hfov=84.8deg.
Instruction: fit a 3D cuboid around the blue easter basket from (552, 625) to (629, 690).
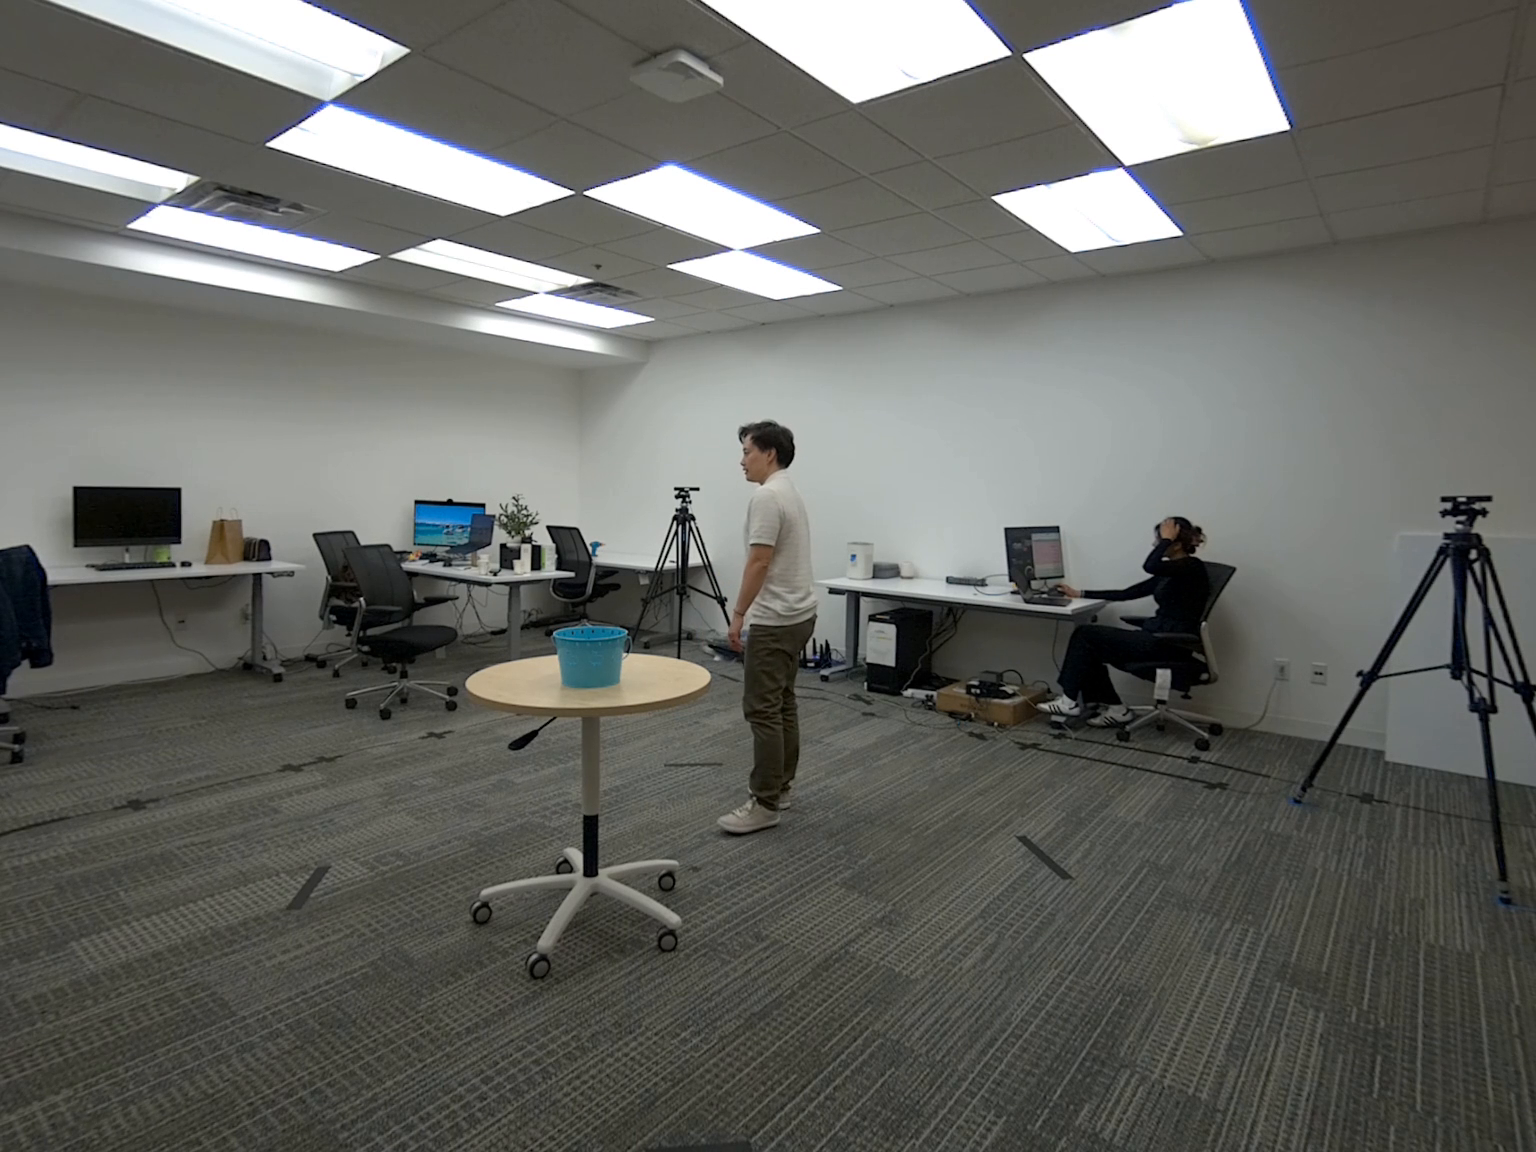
[{"bbox_3d":[-0.559,0.252,2.634,0.243,0.155,0.245,0,5,-2],"label":"blue easter basket"}]
